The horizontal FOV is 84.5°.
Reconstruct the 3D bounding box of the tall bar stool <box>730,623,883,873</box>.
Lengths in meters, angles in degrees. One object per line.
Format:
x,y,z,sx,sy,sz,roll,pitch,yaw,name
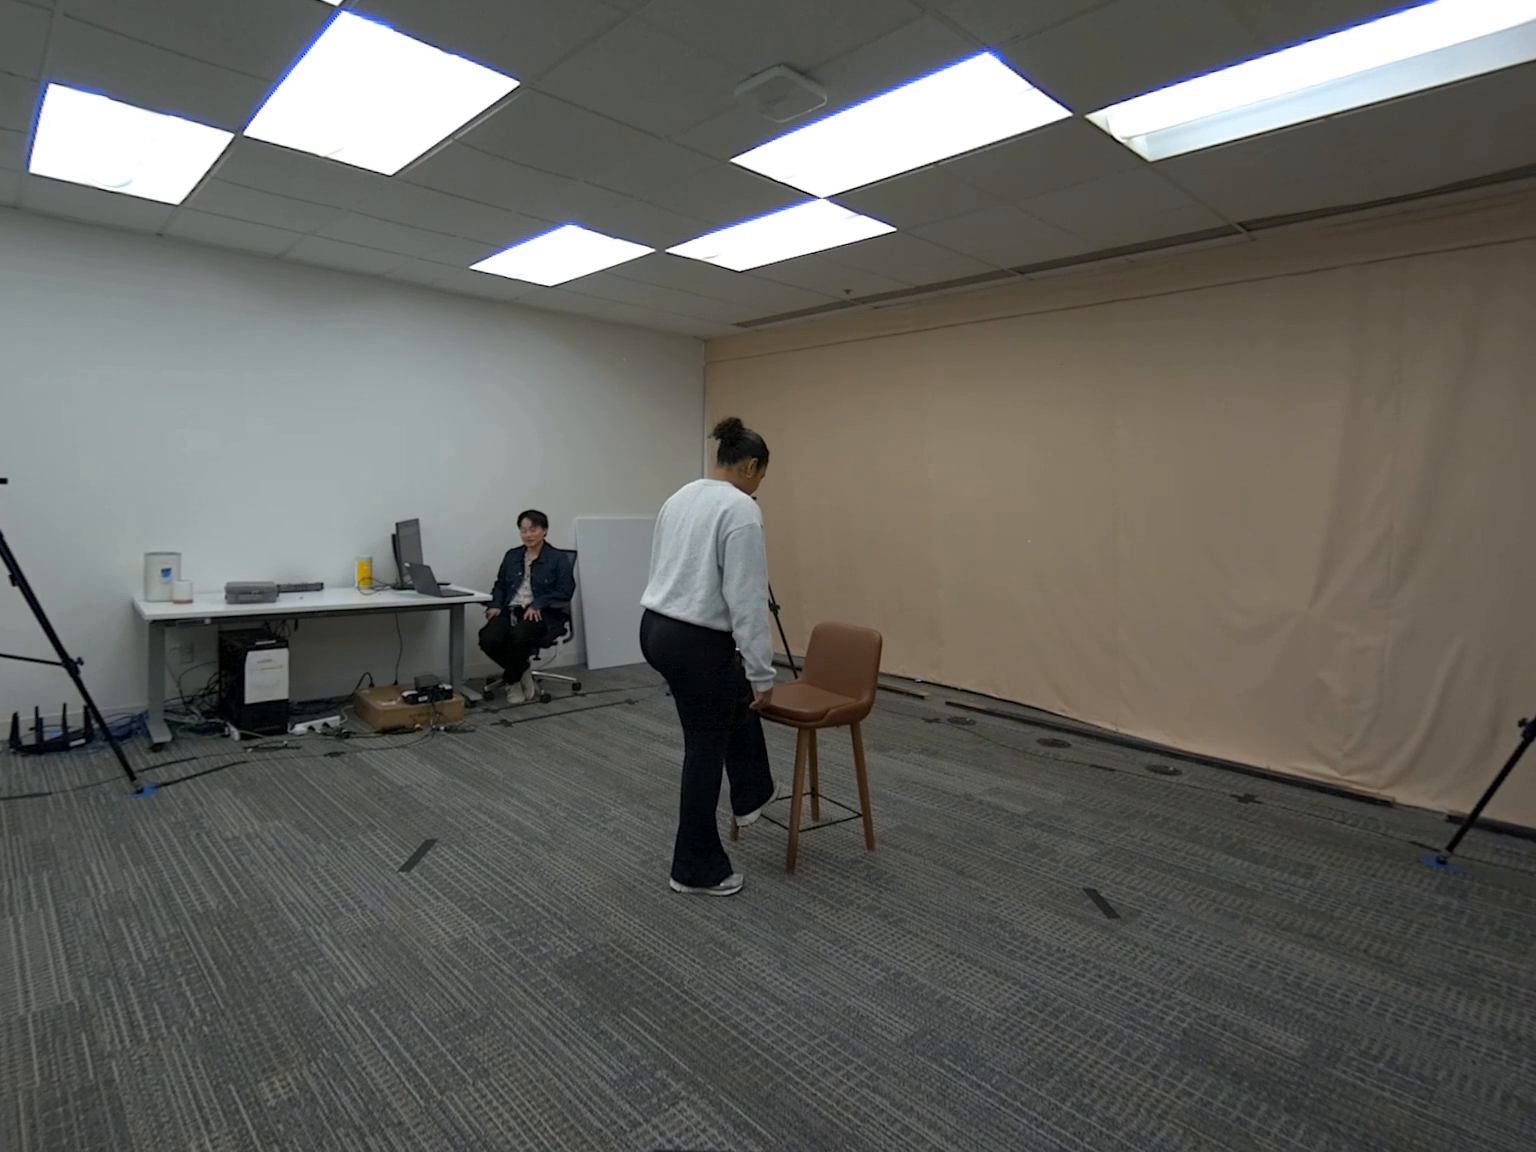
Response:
0.157,0.653,3.395,0.457,0.889,0.467,2,2,-35,tall bar stool
